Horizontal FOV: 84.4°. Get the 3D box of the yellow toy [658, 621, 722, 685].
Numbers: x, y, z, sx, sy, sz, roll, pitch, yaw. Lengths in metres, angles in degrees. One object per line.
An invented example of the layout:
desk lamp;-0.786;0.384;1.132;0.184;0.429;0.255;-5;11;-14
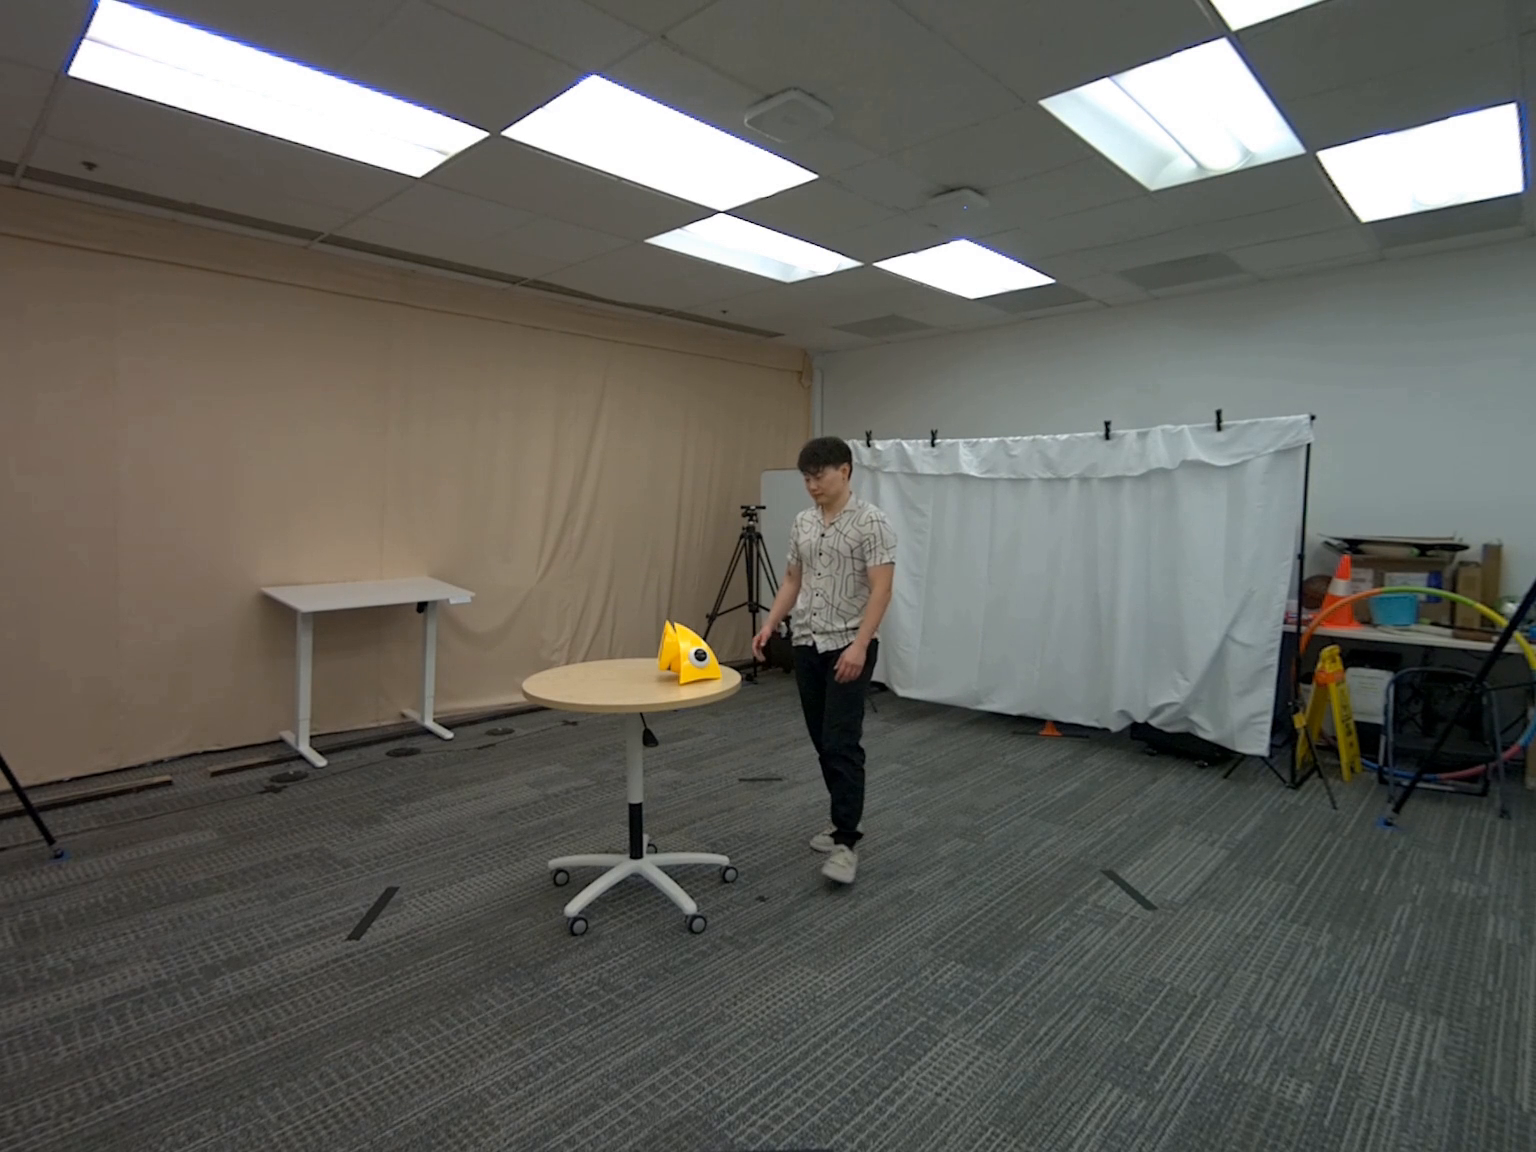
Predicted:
yellow toy;-0.256;0.274;2.950;0.229;0.193;0.207;11;2;-8
